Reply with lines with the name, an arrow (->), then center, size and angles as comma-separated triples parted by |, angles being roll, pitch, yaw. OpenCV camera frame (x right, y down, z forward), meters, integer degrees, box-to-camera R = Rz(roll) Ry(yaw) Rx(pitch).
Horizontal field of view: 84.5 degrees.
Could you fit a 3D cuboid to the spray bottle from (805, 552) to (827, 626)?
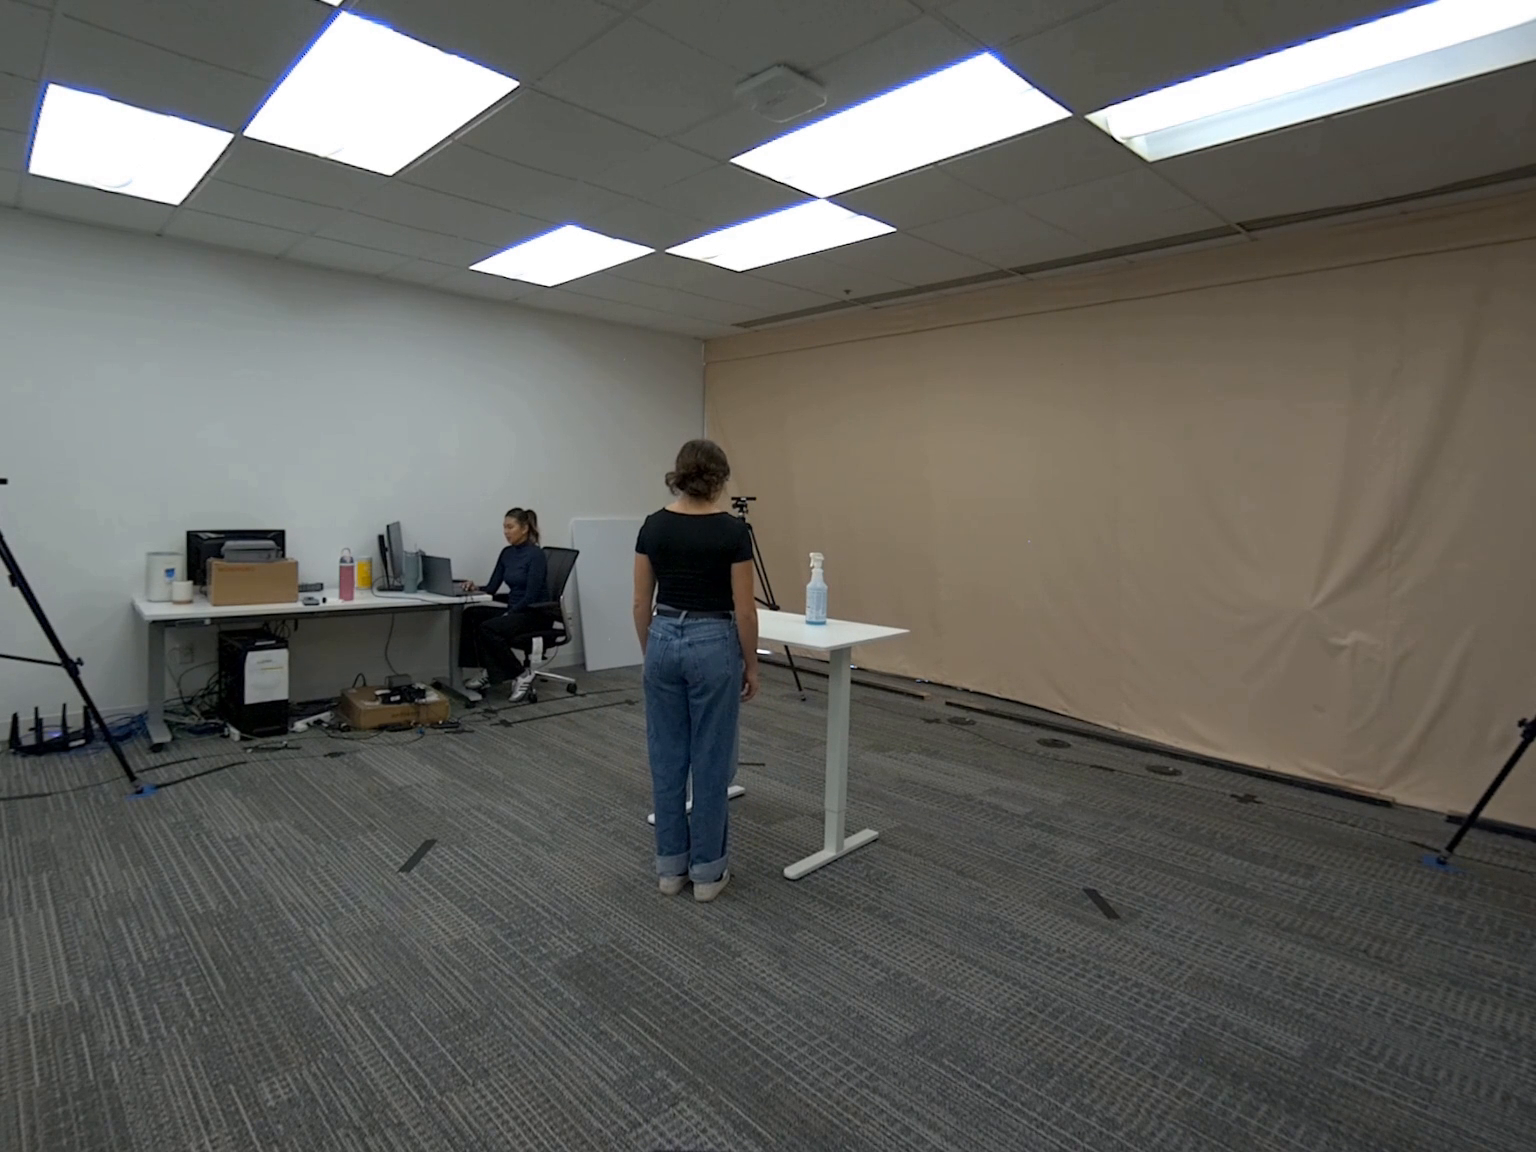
spray bottle -> 0.198, 0.053, 3.497 | 0.088, 0.296, 0.089 | -1, 4, -26
